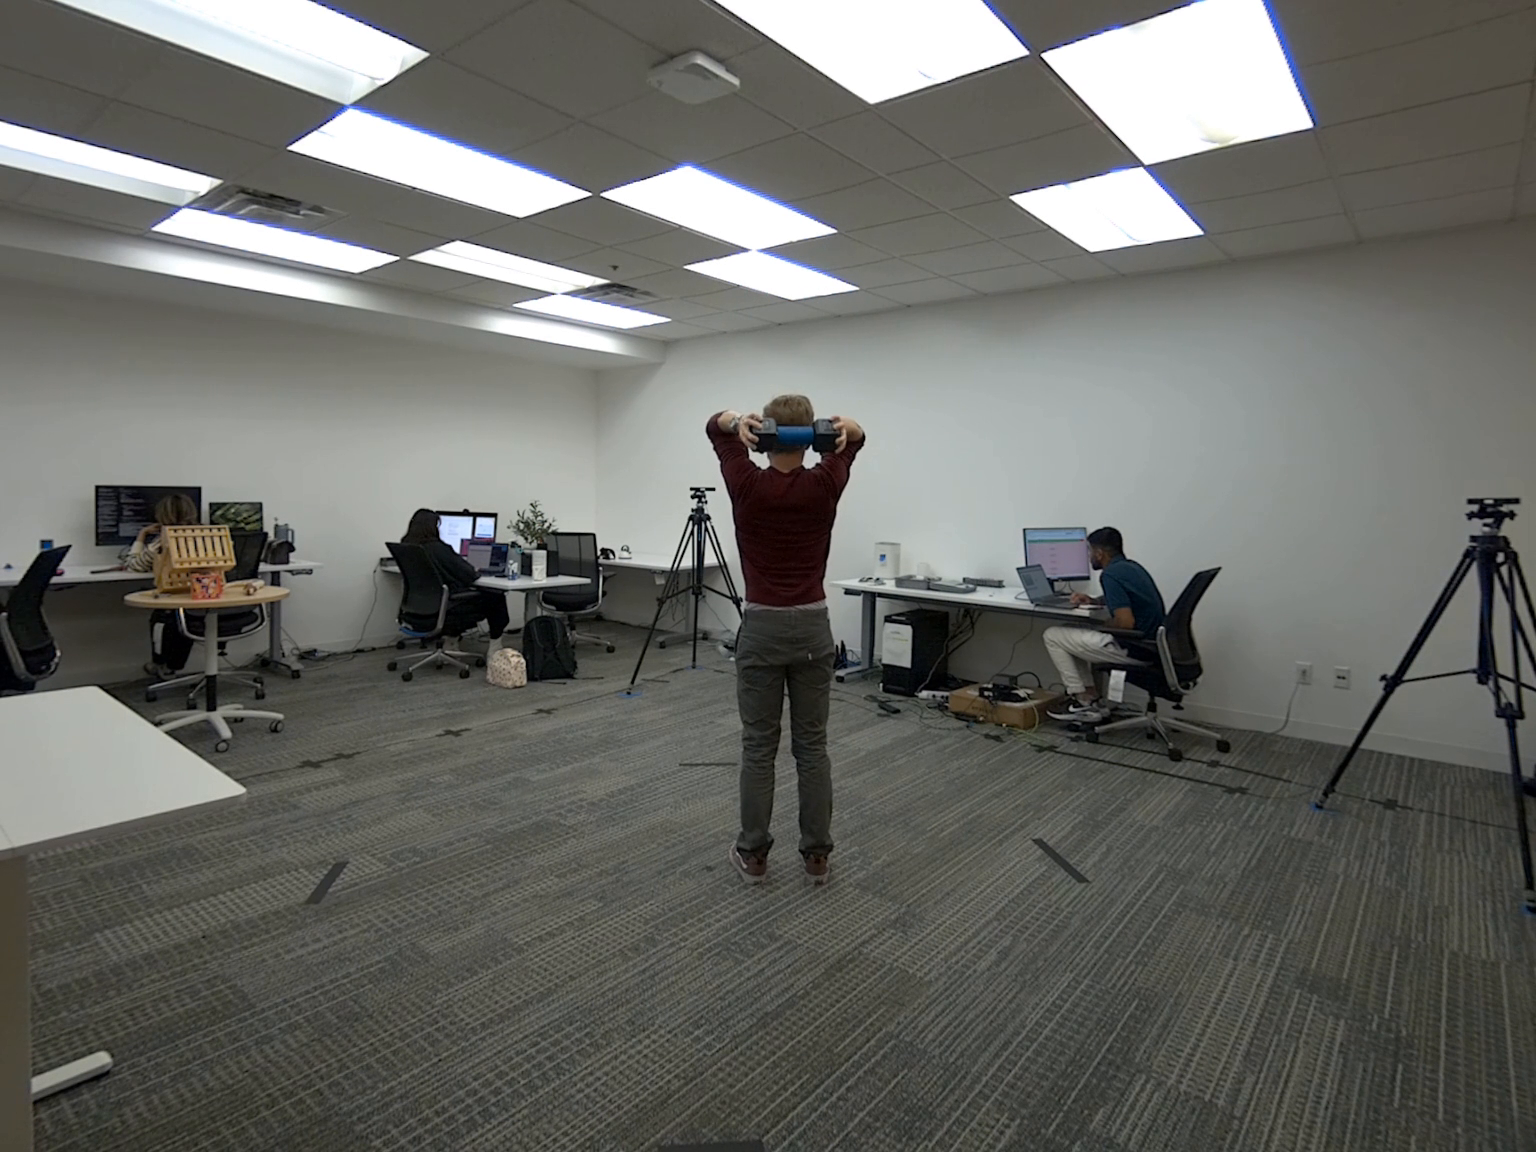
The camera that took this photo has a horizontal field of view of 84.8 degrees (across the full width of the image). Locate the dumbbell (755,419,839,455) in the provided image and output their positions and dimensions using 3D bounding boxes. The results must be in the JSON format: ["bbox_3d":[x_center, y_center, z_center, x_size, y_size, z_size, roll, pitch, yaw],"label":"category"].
[{"bbox_3d":[0.080,-0.500,2.856,0.292,0.126,0.106,0,-30,-5],"label":"dumbbell"}]
